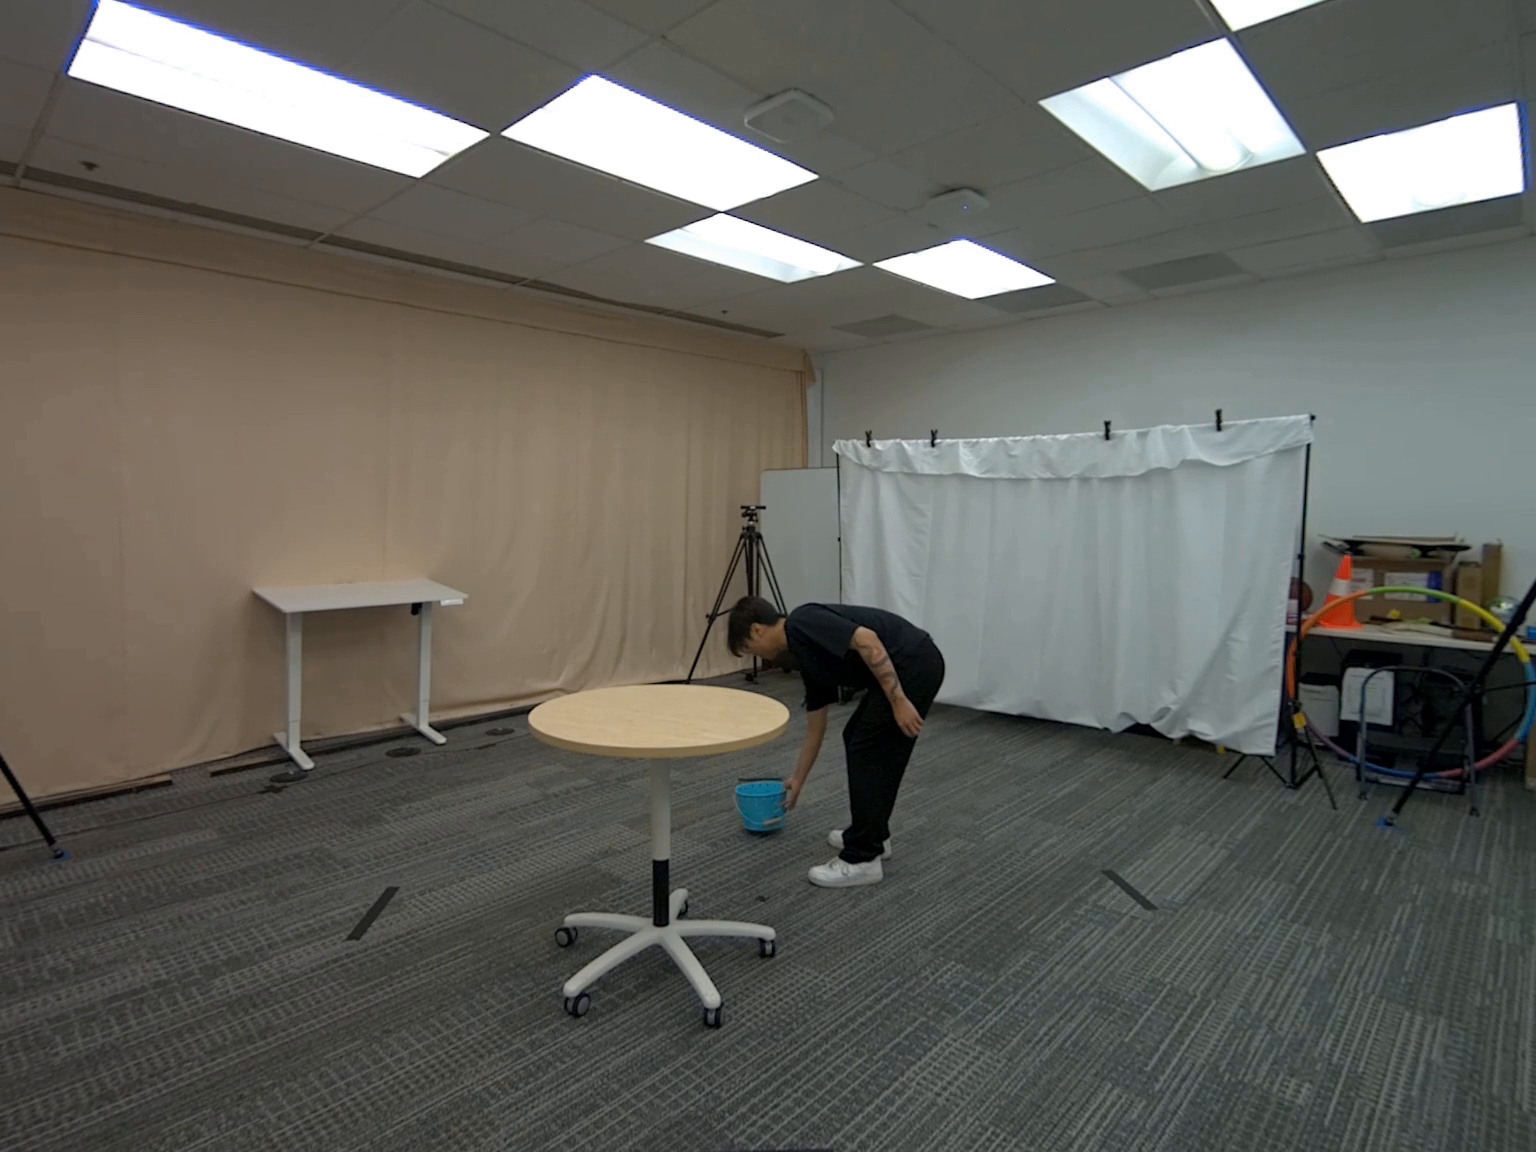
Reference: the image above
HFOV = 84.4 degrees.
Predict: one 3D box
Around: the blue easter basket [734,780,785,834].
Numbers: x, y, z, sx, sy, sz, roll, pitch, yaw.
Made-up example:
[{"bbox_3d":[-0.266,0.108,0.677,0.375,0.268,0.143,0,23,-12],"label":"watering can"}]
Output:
[{"bbox_3d":[-0.025,0.981,3.604,0.243,0.156,0.244,-4,0,-2],"label":"blue easter basket"}]
